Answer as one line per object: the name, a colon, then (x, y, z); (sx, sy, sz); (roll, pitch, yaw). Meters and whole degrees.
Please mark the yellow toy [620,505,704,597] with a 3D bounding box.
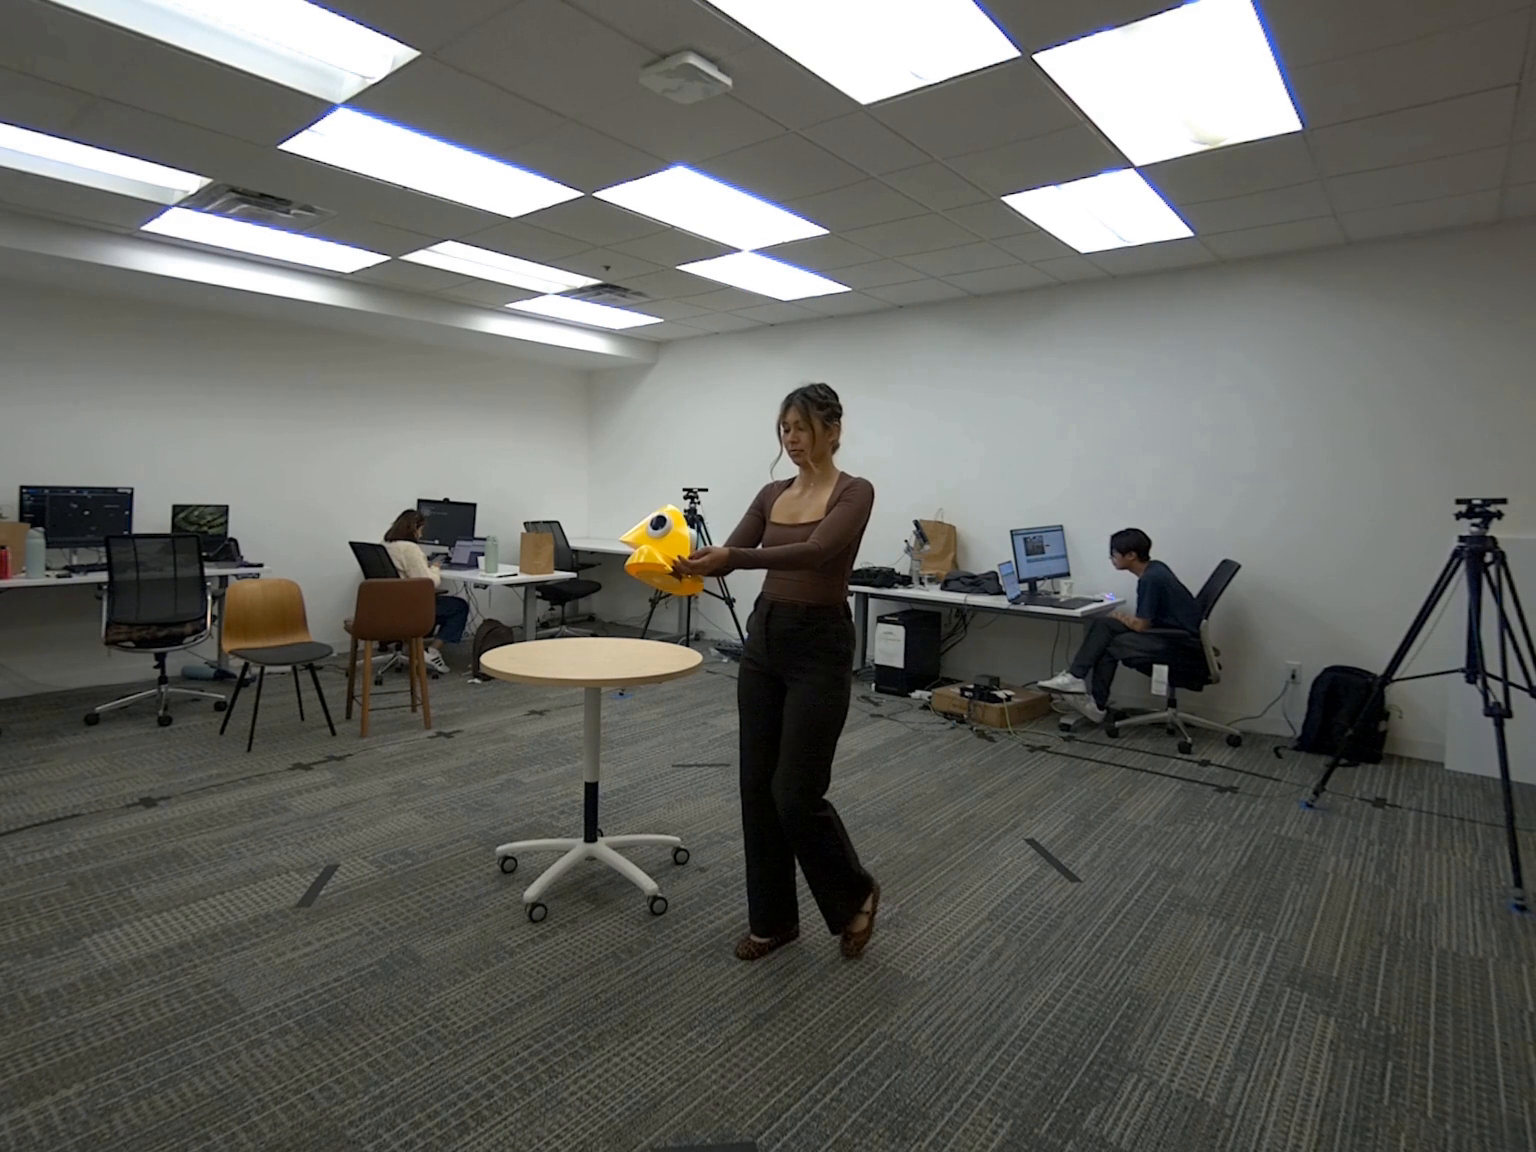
yellow toy: (-0.257, -0.095, 2.215); (0.197, 0.234, 0.198); (29, -28, -35)
